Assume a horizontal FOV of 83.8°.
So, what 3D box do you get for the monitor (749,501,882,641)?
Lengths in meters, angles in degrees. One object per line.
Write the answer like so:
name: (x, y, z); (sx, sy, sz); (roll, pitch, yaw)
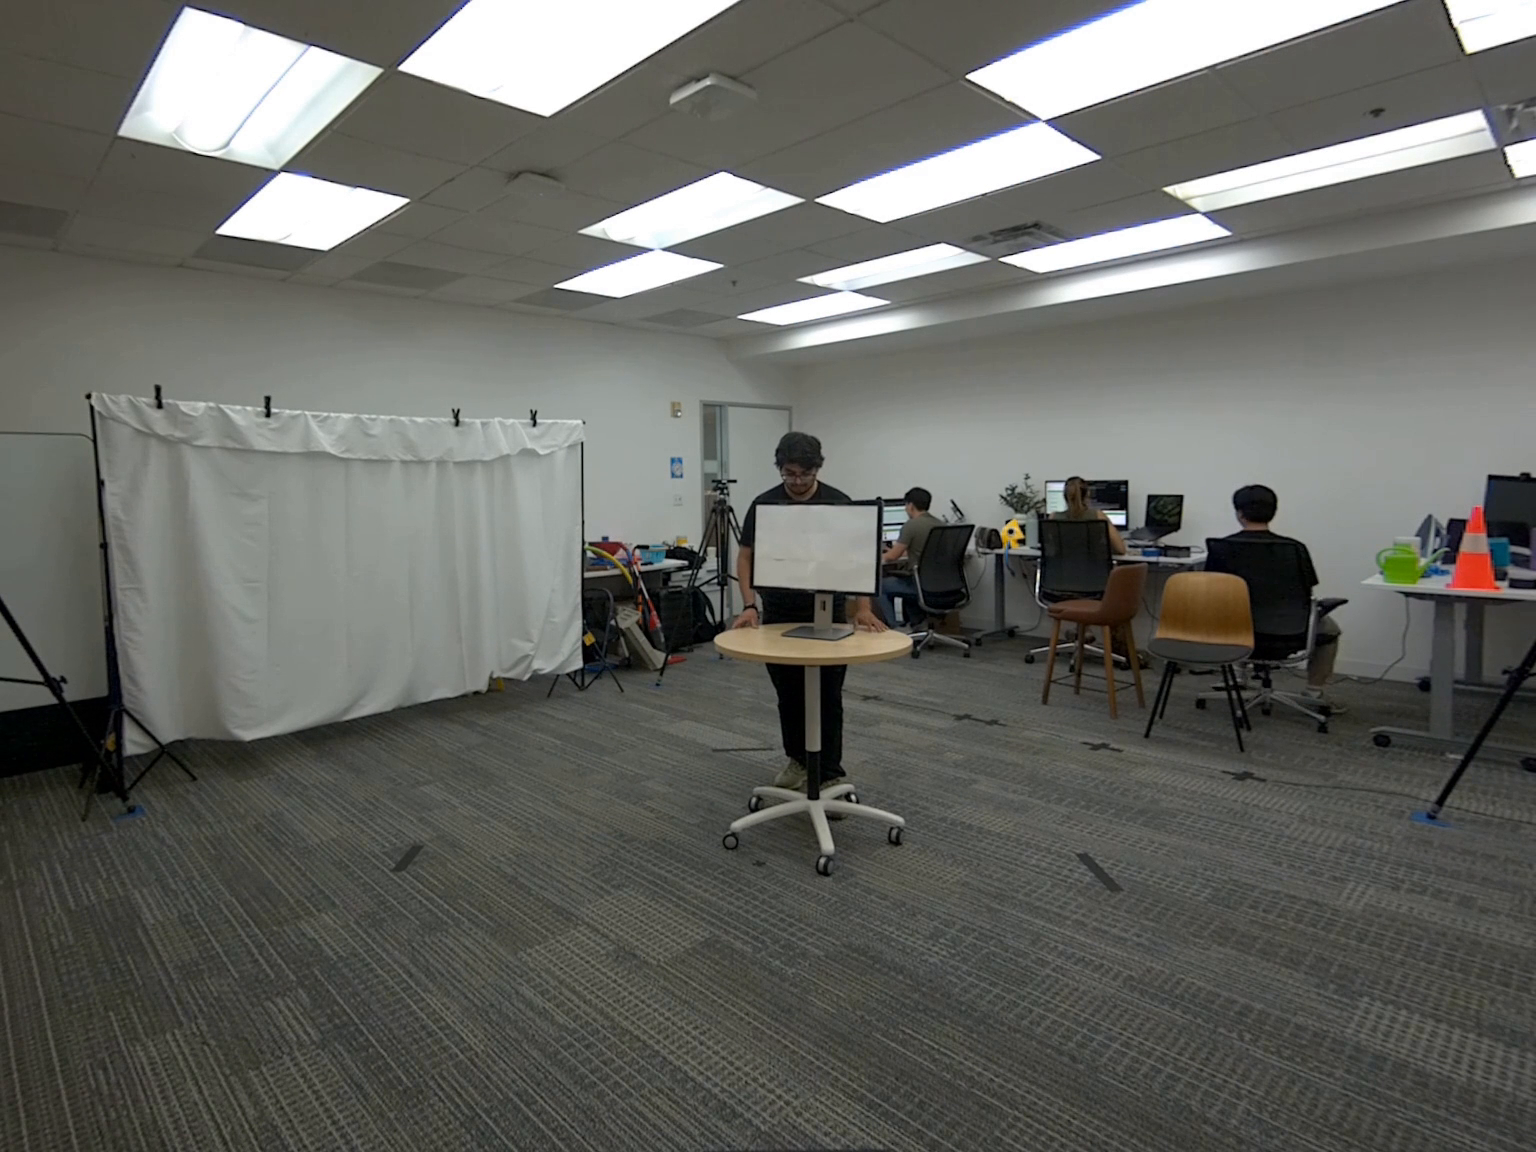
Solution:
monitor: (0.214, -0.027, 3.416); (0.580, 0.553, 0.205); (2, 2, 31)
